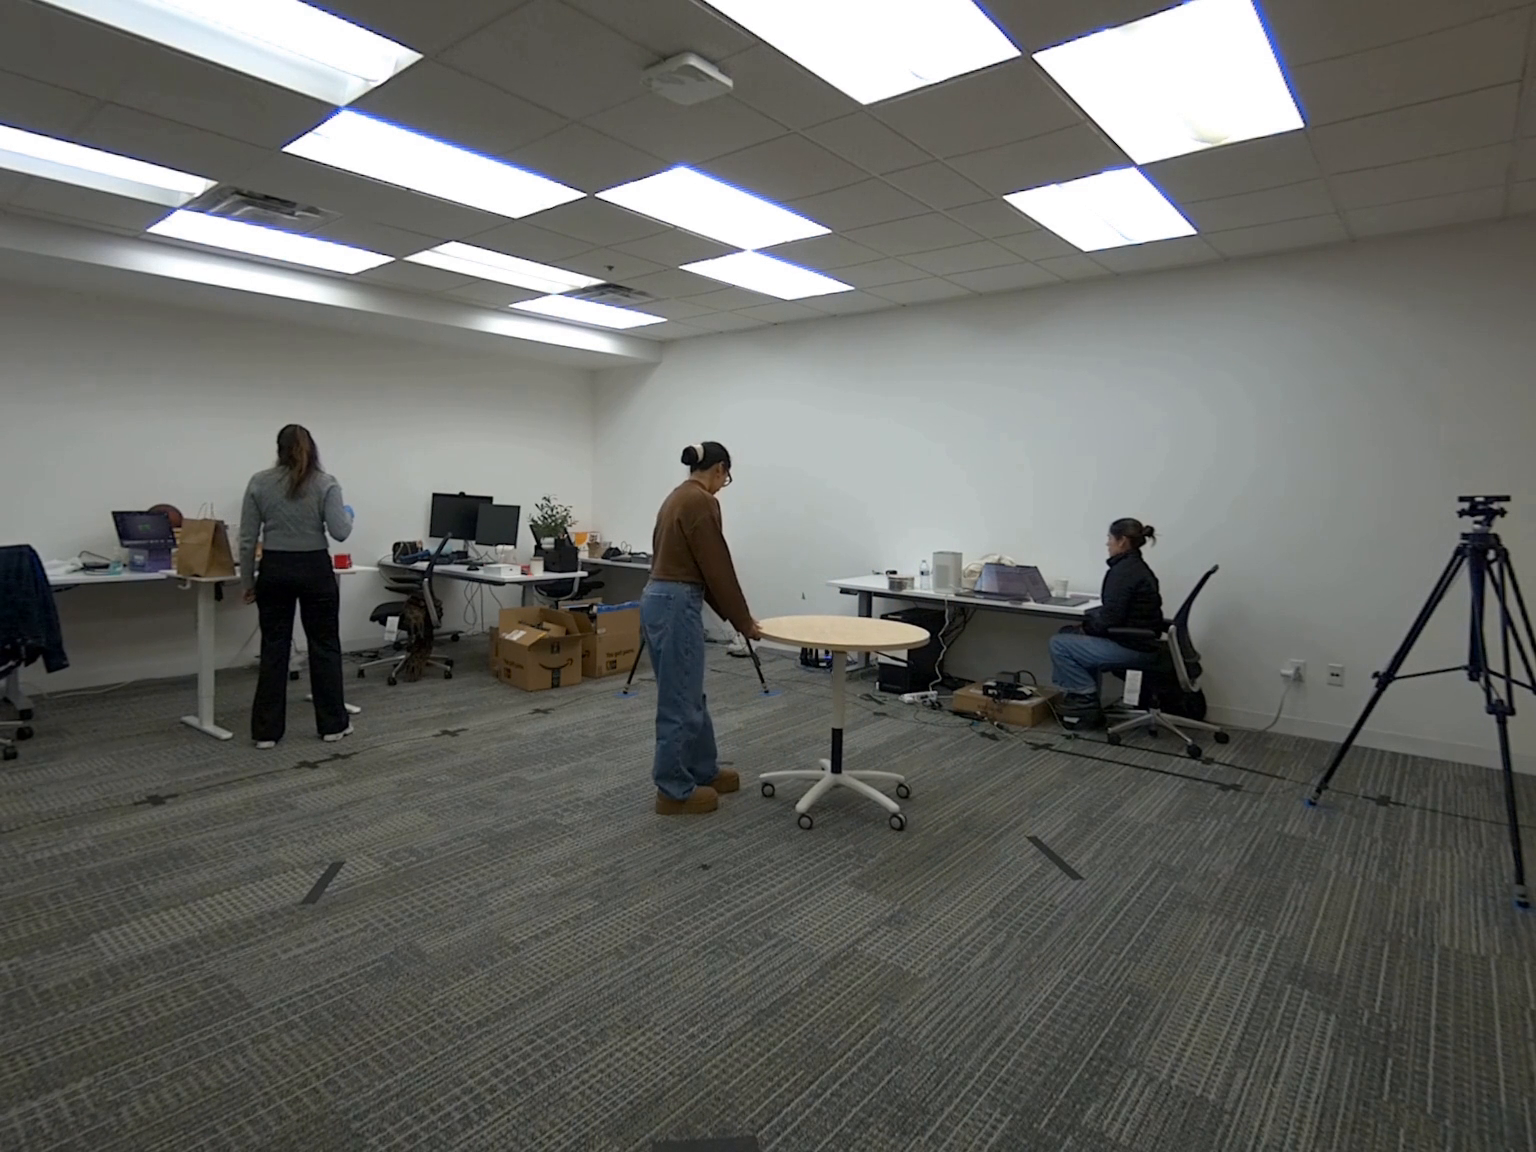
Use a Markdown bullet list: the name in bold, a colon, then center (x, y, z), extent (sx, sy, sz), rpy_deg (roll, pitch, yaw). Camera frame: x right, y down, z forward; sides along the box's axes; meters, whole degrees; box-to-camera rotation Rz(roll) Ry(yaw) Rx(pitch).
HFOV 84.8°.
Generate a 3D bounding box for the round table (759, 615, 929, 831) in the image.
- **round table**: center (0.306, 0.626, 3.761), extent (0.763, 0.791, 0.768), rpy_deg (1, 4, -2)
